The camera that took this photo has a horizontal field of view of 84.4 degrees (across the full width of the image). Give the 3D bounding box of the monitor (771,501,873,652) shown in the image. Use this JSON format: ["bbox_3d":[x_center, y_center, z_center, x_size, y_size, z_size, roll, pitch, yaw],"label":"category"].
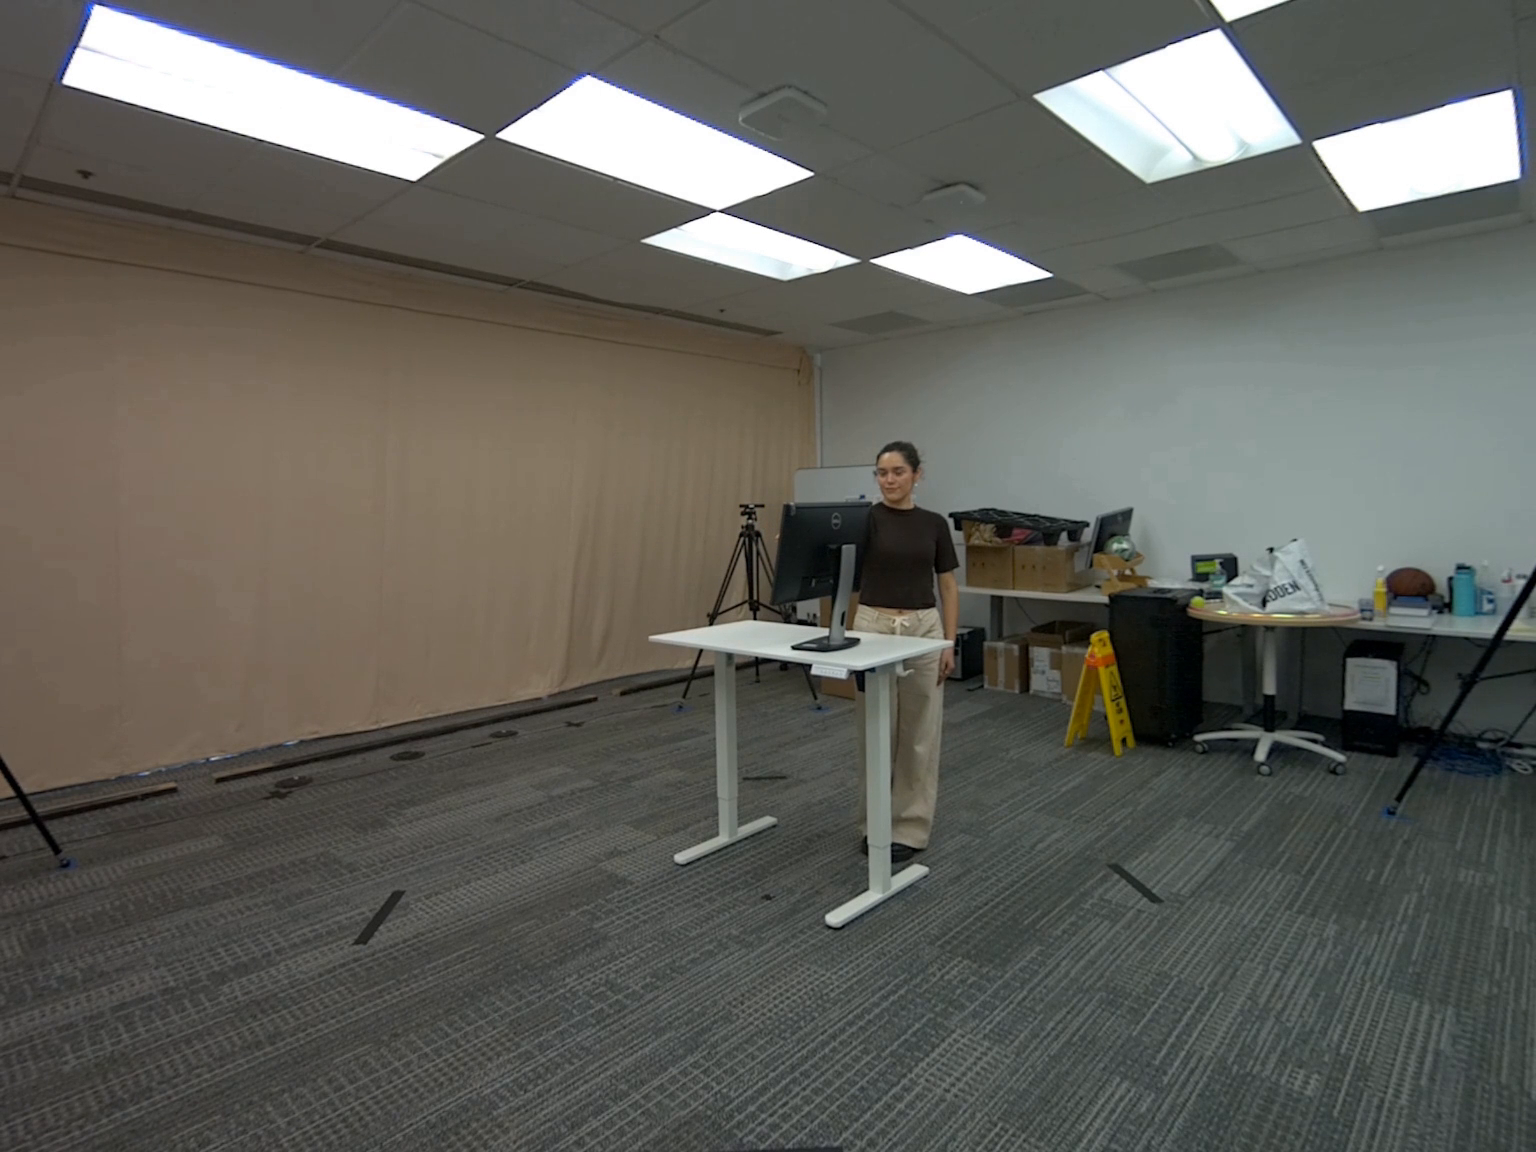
[{"bbox_3d":[0.222,0.000,2.994,0.193,0.522,0.523,0,4,40],"label":"monitor"}]
